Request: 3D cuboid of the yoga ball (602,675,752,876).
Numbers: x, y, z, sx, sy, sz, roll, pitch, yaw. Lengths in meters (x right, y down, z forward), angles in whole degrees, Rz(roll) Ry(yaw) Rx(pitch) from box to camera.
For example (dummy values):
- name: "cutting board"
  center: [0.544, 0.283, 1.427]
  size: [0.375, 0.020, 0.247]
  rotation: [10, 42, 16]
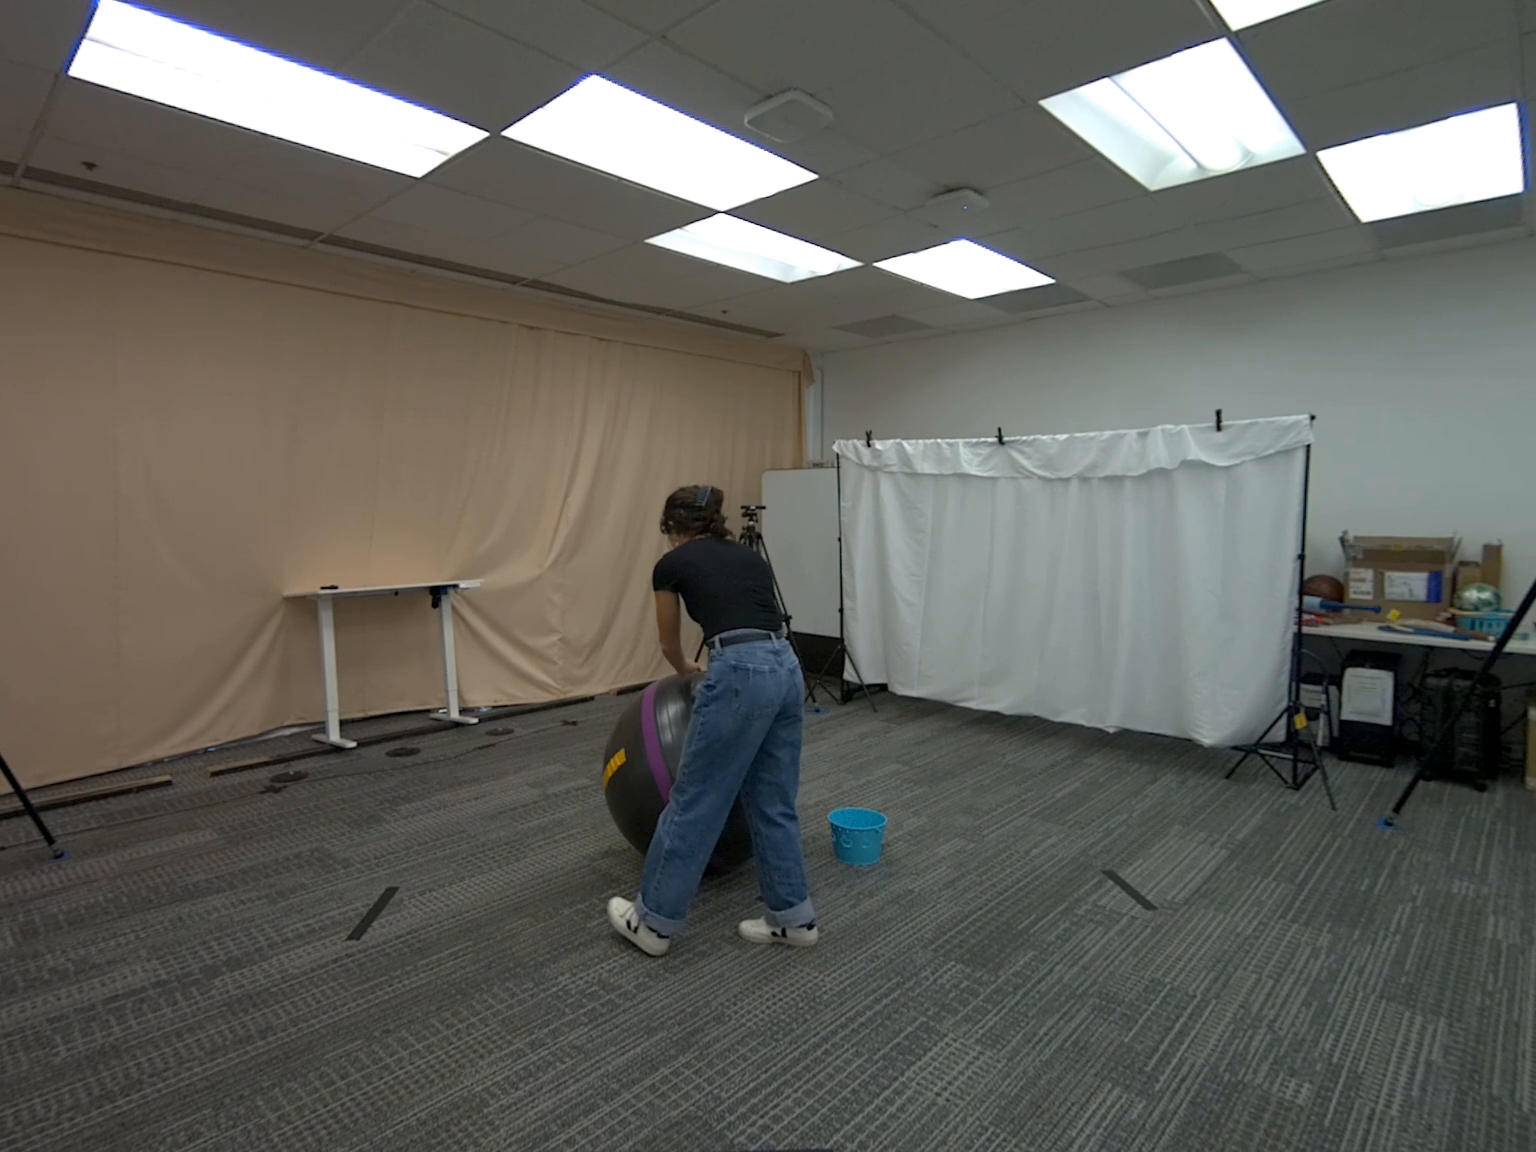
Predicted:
- name: "yoga ball"
  center: [-0.261, 0.753, 3.266]
  size: [0.757, 0.756, 0.760]
  rotation: [0, 4, -2]
